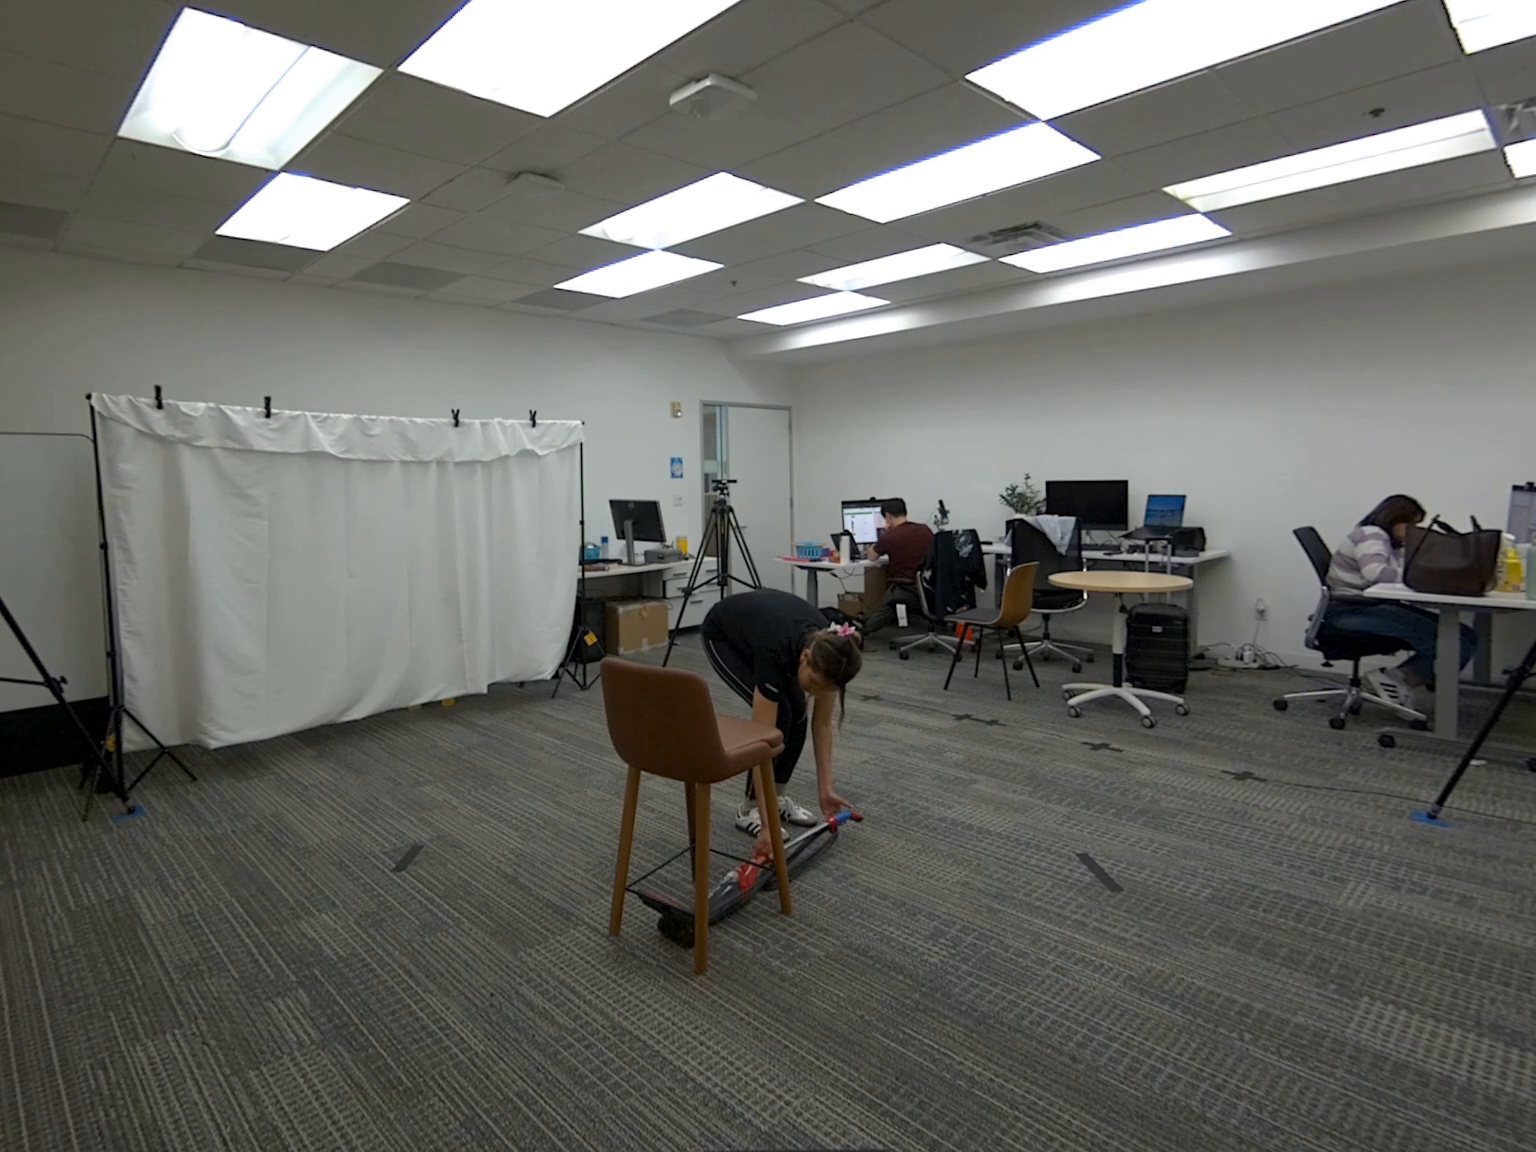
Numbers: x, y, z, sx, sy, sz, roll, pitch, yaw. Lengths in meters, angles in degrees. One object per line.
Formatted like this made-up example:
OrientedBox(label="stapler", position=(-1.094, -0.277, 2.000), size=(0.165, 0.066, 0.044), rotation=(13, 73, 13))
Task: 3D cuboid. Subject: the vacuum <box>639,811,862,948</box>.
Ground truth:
OrientedBox(label="vacuum", position=(0.042, 1.009, 2.970), size=(0.260, 0.143, 1.022), rotation=(4, 7, 39))
